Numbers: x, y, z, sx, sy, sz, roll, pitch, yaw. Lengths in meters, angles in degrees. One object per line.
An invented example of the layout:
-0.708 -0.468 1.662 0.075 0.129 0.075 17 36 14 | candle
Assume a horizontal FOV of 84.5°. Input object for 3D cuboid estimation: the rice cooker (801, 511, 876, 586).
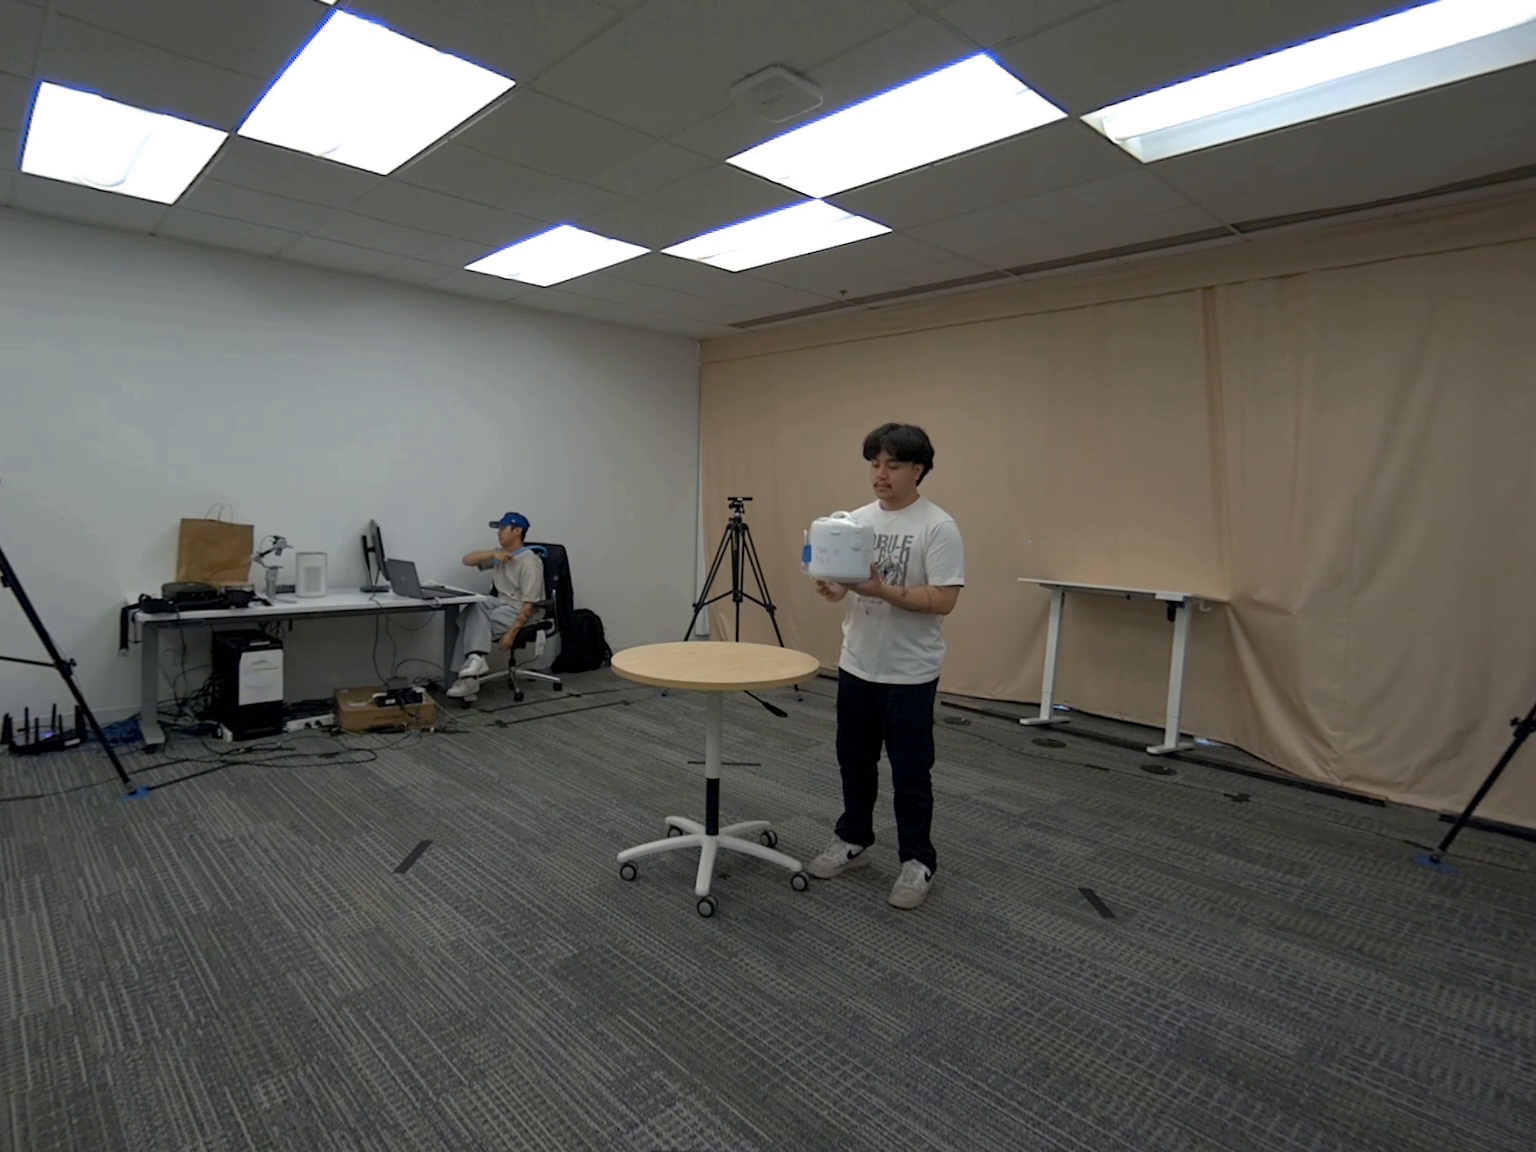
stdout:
0.236 -0.097 2.787 0.214 0.232 0.225 1 6 -20 | rice cooker
